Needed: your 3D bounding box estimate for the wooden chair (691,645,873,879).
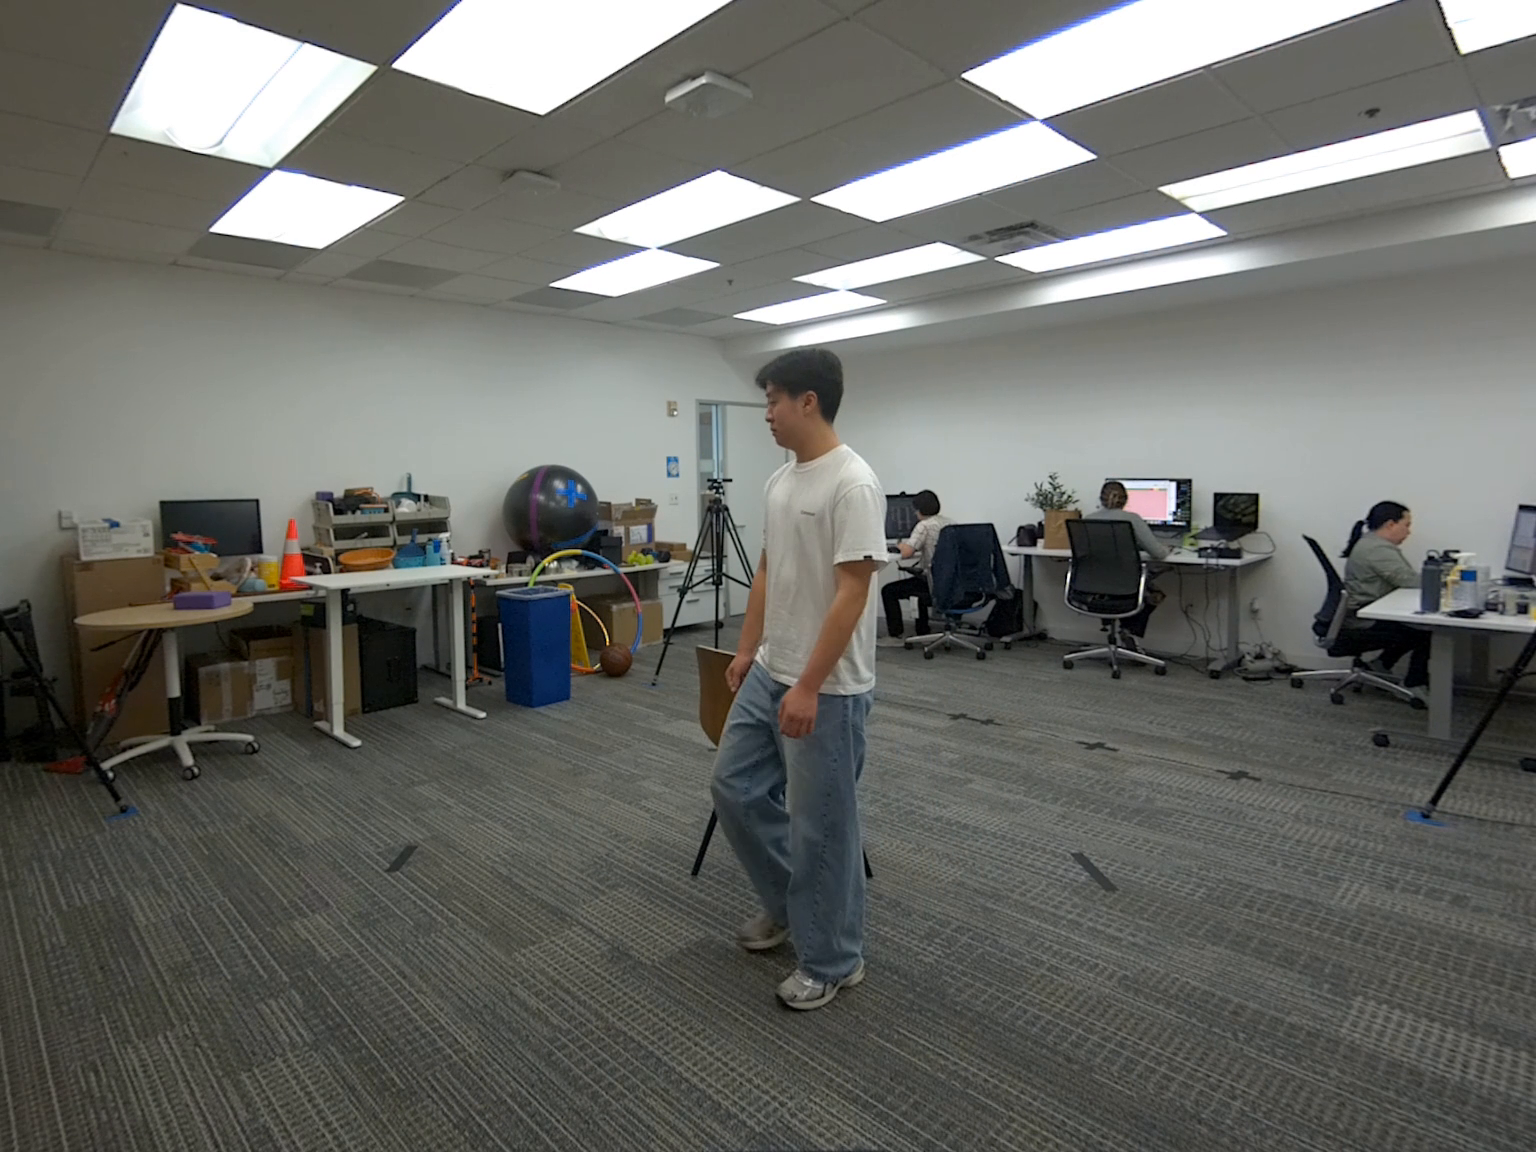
[{"bbox_3d":[0.048,0.634,2.976,0.511,0.872,0.493,-10,9,-43],"label":"wooden chair"}]
